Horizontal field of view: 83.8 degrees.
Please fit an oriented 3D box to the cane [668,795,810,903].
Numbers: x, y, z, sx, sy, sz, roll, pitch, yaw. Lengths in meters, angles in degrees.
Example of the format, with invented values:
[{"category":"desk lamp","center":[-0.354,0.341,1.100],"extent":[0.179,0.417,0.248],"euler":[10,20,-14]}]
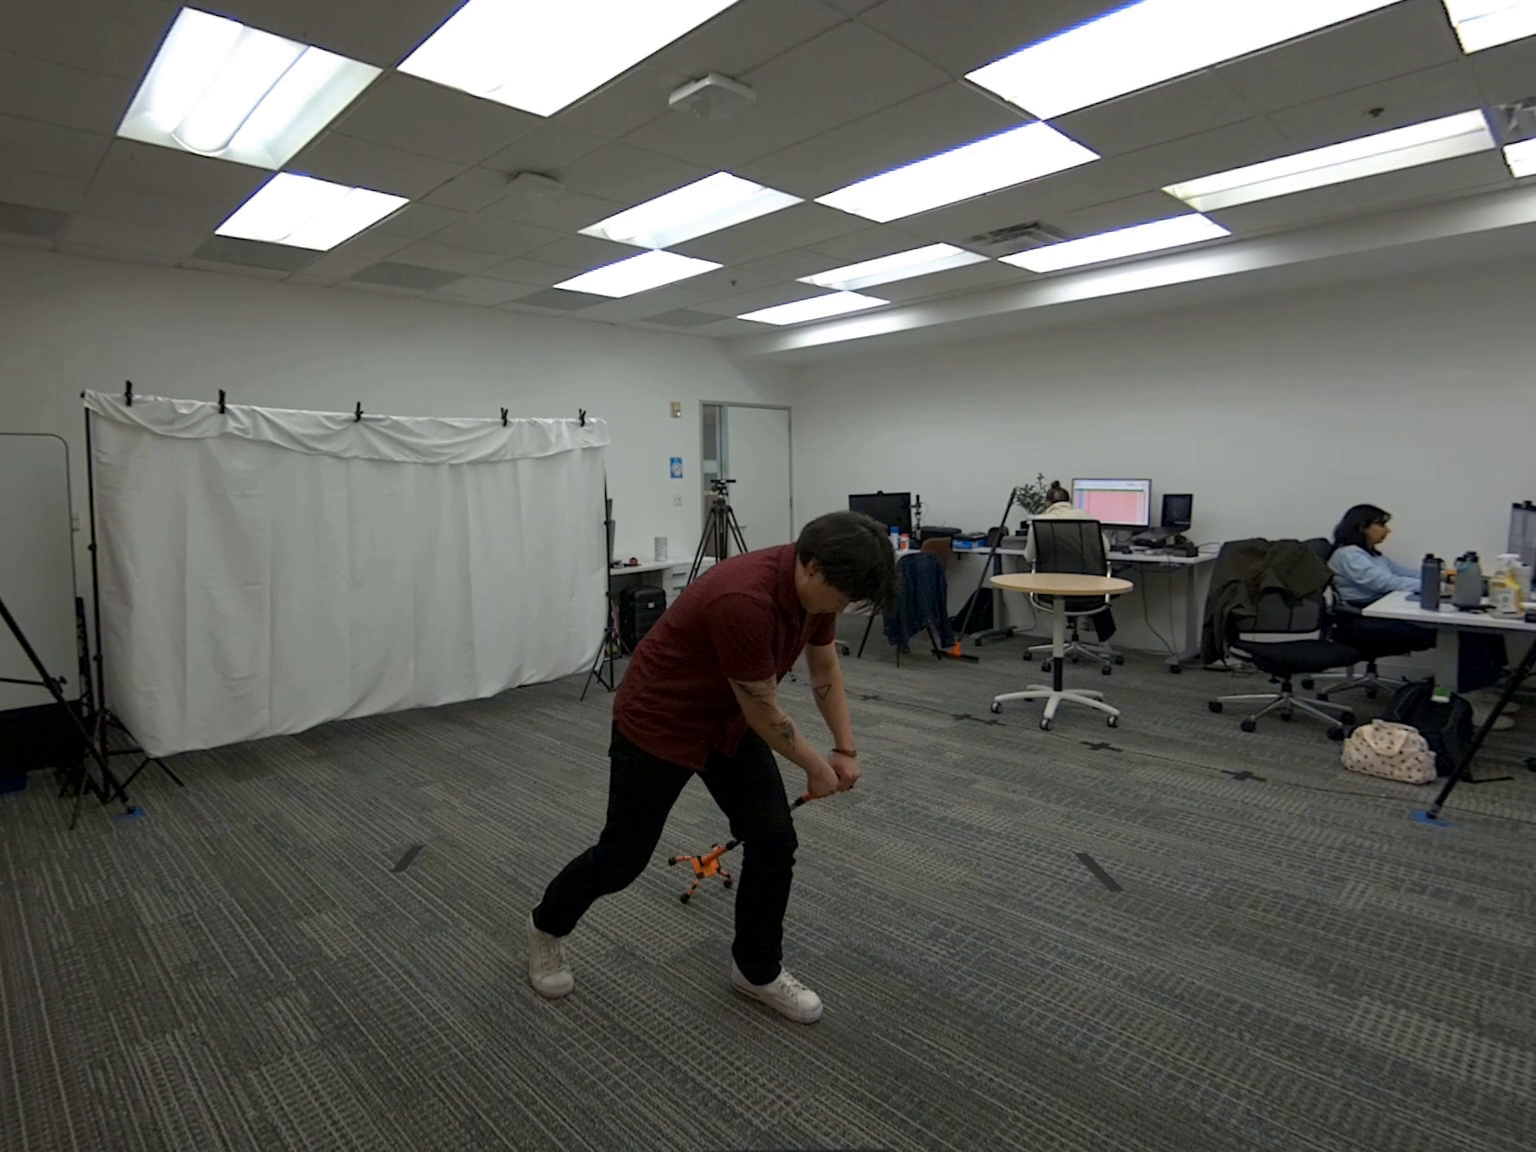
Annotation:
[{"category":"cane","center":[-0.010,0.777,2.594],"extent":[0.201,0.156,0.906],"euler":[-5,-28,-36]}]
